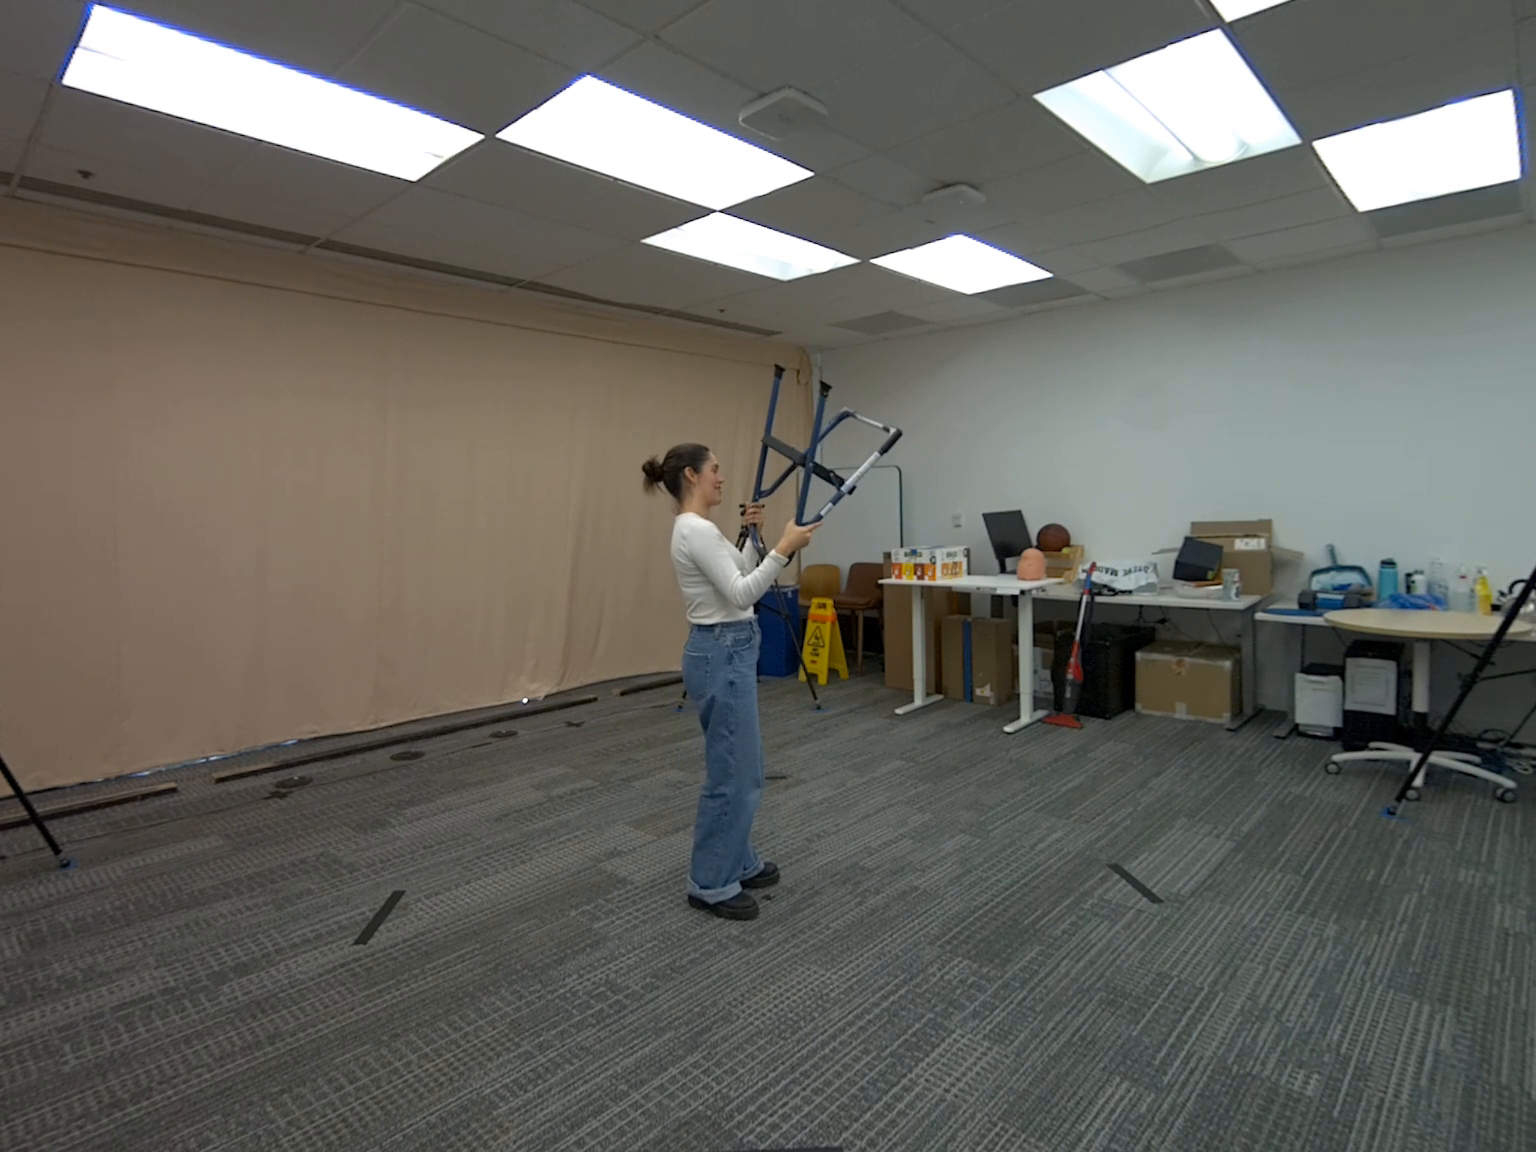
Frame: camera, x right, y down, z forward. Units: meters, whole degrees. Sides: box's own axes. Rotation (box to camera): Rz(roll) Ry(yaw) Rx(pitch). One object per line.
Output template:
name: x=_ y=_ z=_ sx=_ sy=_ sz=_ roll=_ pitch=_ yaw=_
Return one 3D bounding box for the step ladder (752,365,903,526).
step ladder: x=0.097 y=-0.344 z=2.869 sx=0.339 sy=0.606 sz=0.443 roll=26 pitch=9 yaw=-27
